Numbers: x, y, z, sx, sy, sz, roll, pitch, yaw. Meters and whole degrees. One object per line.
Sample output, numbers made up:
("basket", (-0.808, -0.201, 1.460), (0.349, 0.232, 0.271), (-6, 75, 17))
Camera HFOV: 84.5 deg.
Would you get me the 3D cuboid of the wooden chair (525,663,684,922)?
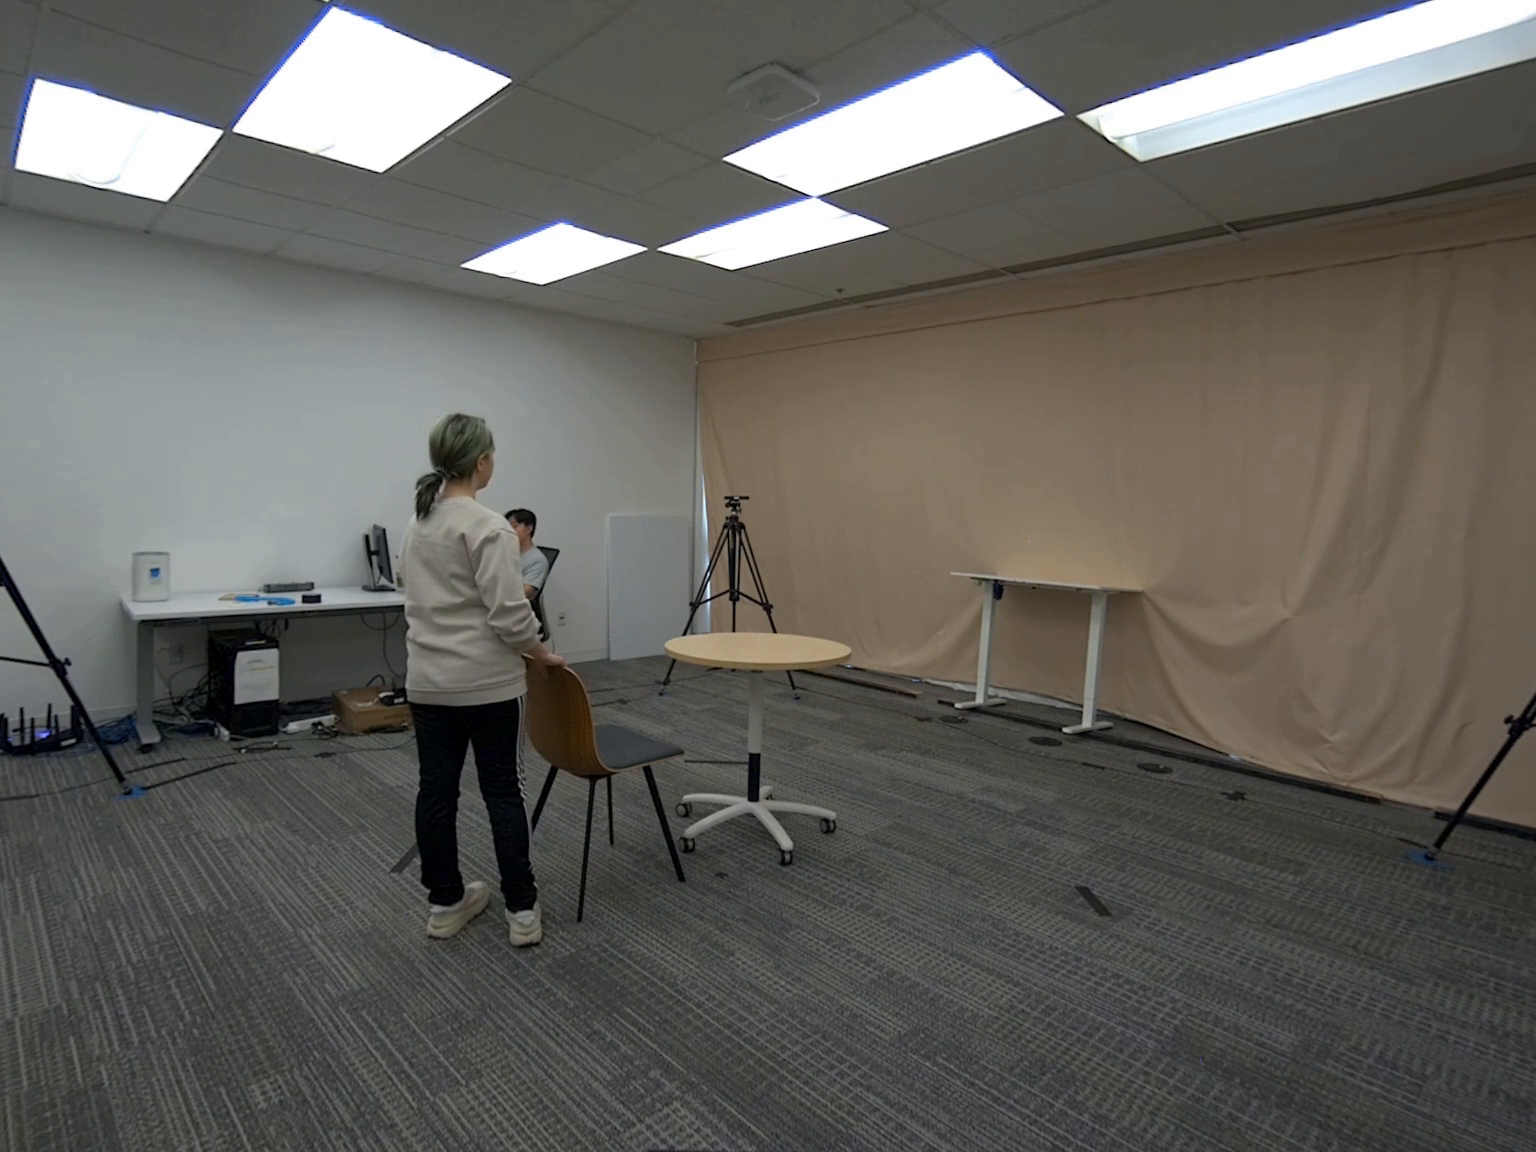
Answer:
("wooden chair", (-0.603, 0.672, 3.027), (0.512, 0.873, 0.490), (-8, 9, -44))
